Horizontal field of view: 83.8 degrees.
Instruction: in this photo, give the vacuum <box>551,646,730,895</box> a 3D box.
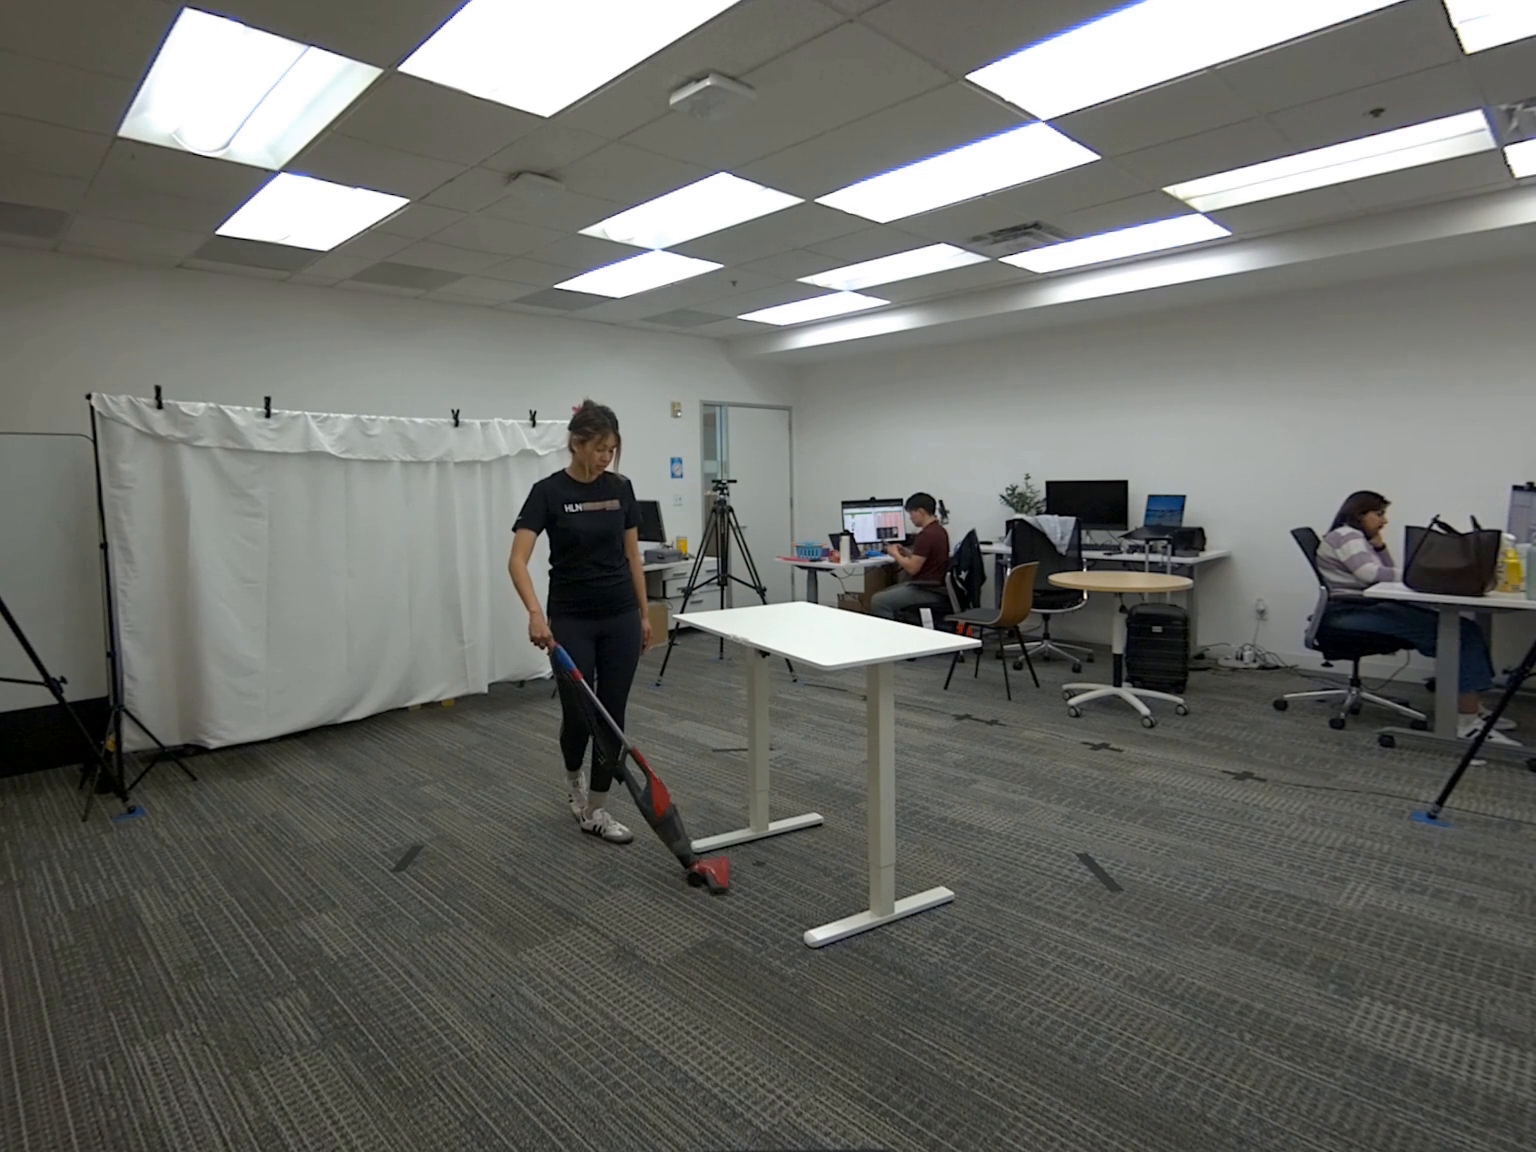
[{"bbox_3d":[-0.512,0.630,3.007,0.144,1.049,0.252,-37,0,3],"label":"vacuum"}]
